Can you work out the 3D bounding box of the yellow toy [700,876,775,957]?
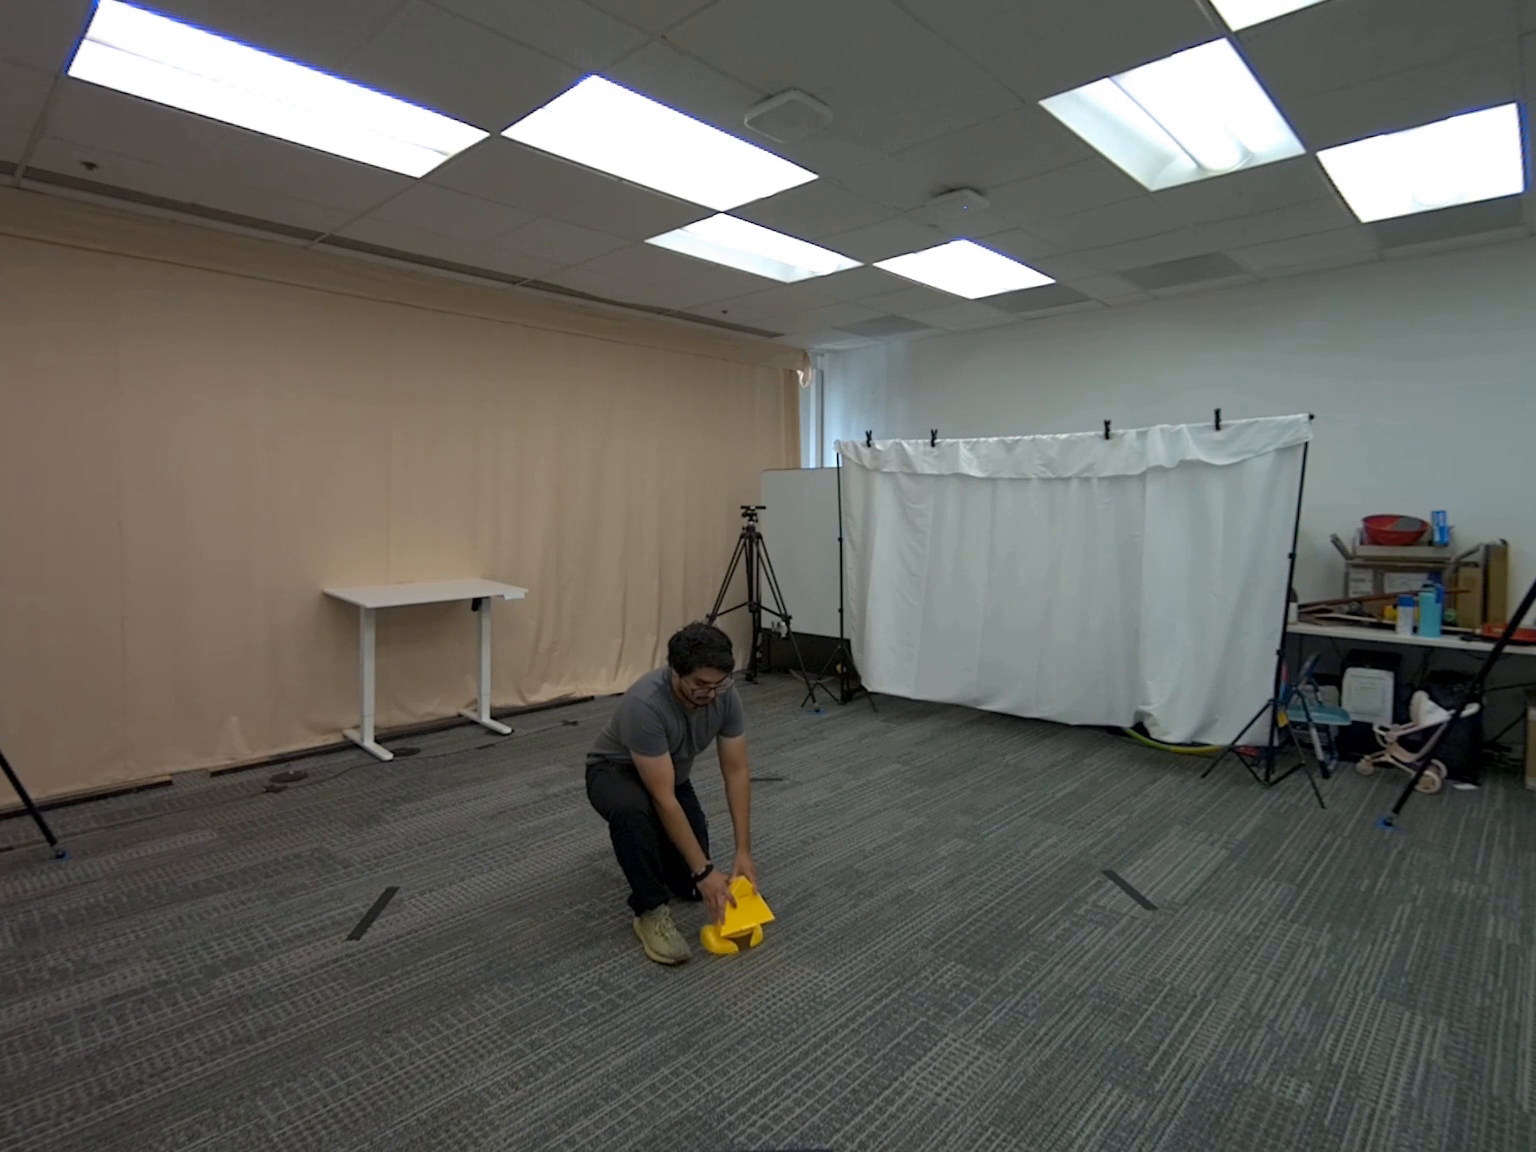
[{"bbox_3d":[-0.114,1.057,2.696,0.199,0.230,0.199,-4,5,-34],"label":"yellow toy"}]
